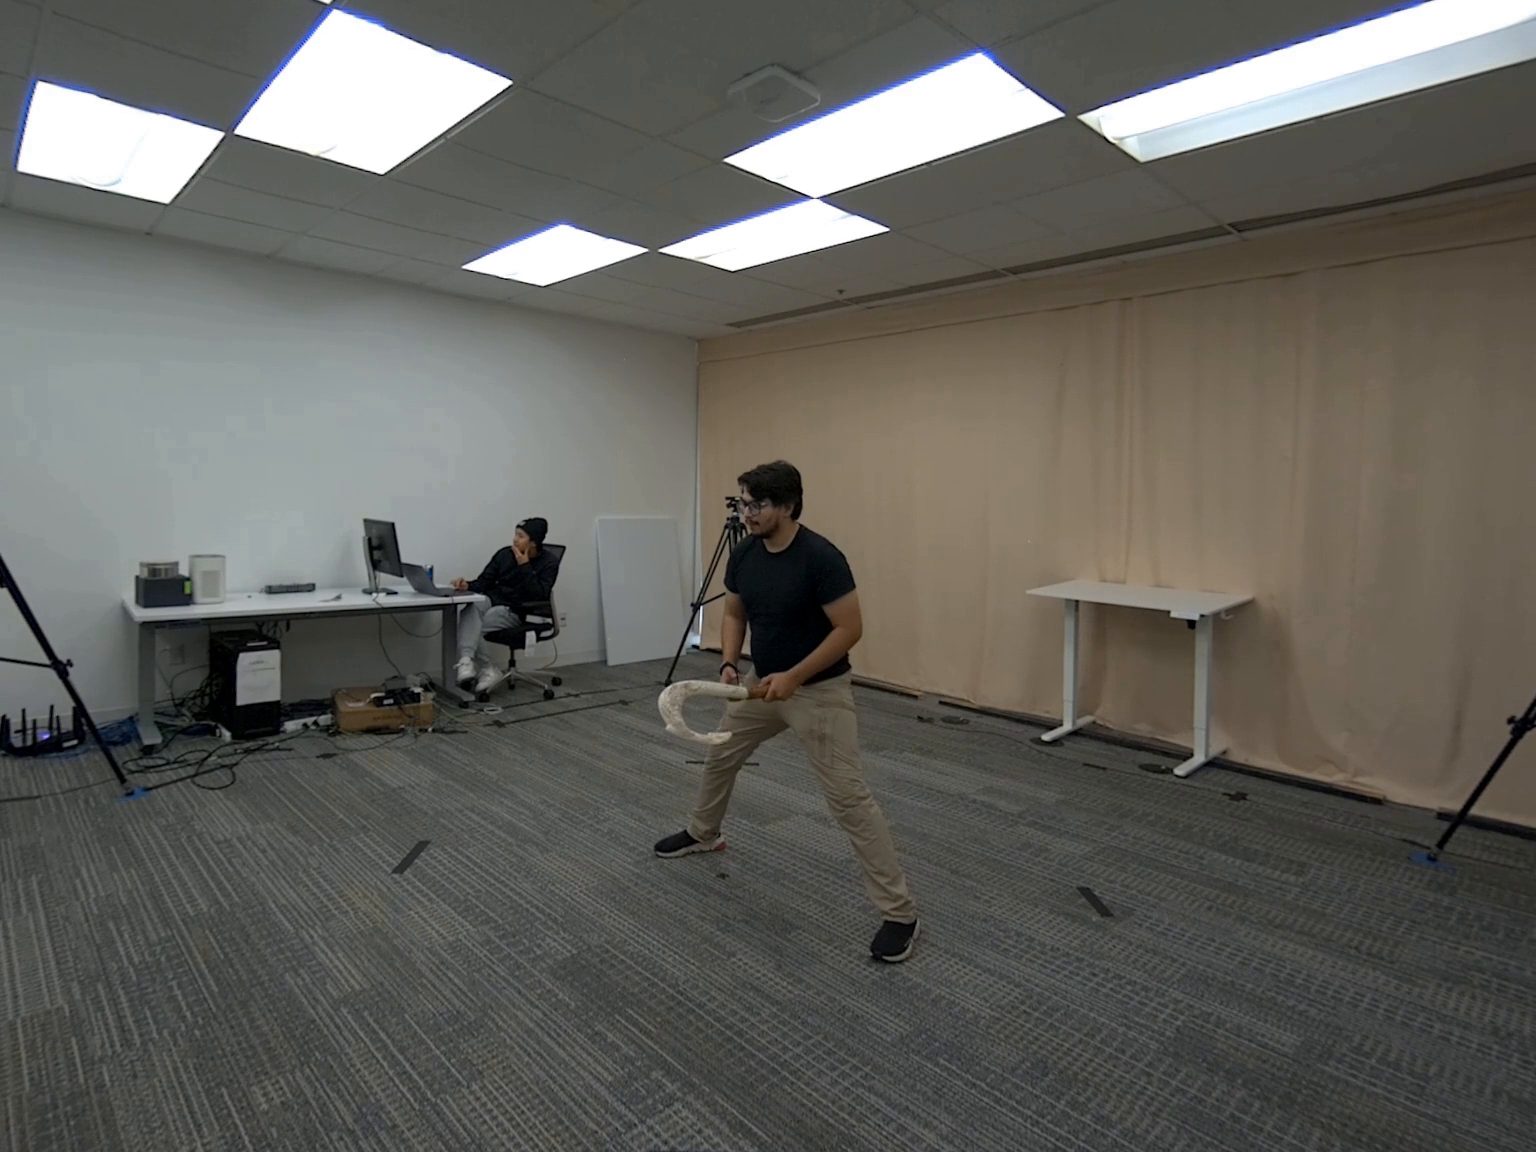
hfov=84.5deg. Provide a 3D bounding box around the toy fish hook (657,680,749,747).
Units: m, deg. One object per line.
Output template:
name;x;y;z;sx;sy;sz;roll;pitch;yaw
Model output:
toy fish hook;-0.107;0.420;2.625;0.497;0.230;0.048;-1;-37;-28
